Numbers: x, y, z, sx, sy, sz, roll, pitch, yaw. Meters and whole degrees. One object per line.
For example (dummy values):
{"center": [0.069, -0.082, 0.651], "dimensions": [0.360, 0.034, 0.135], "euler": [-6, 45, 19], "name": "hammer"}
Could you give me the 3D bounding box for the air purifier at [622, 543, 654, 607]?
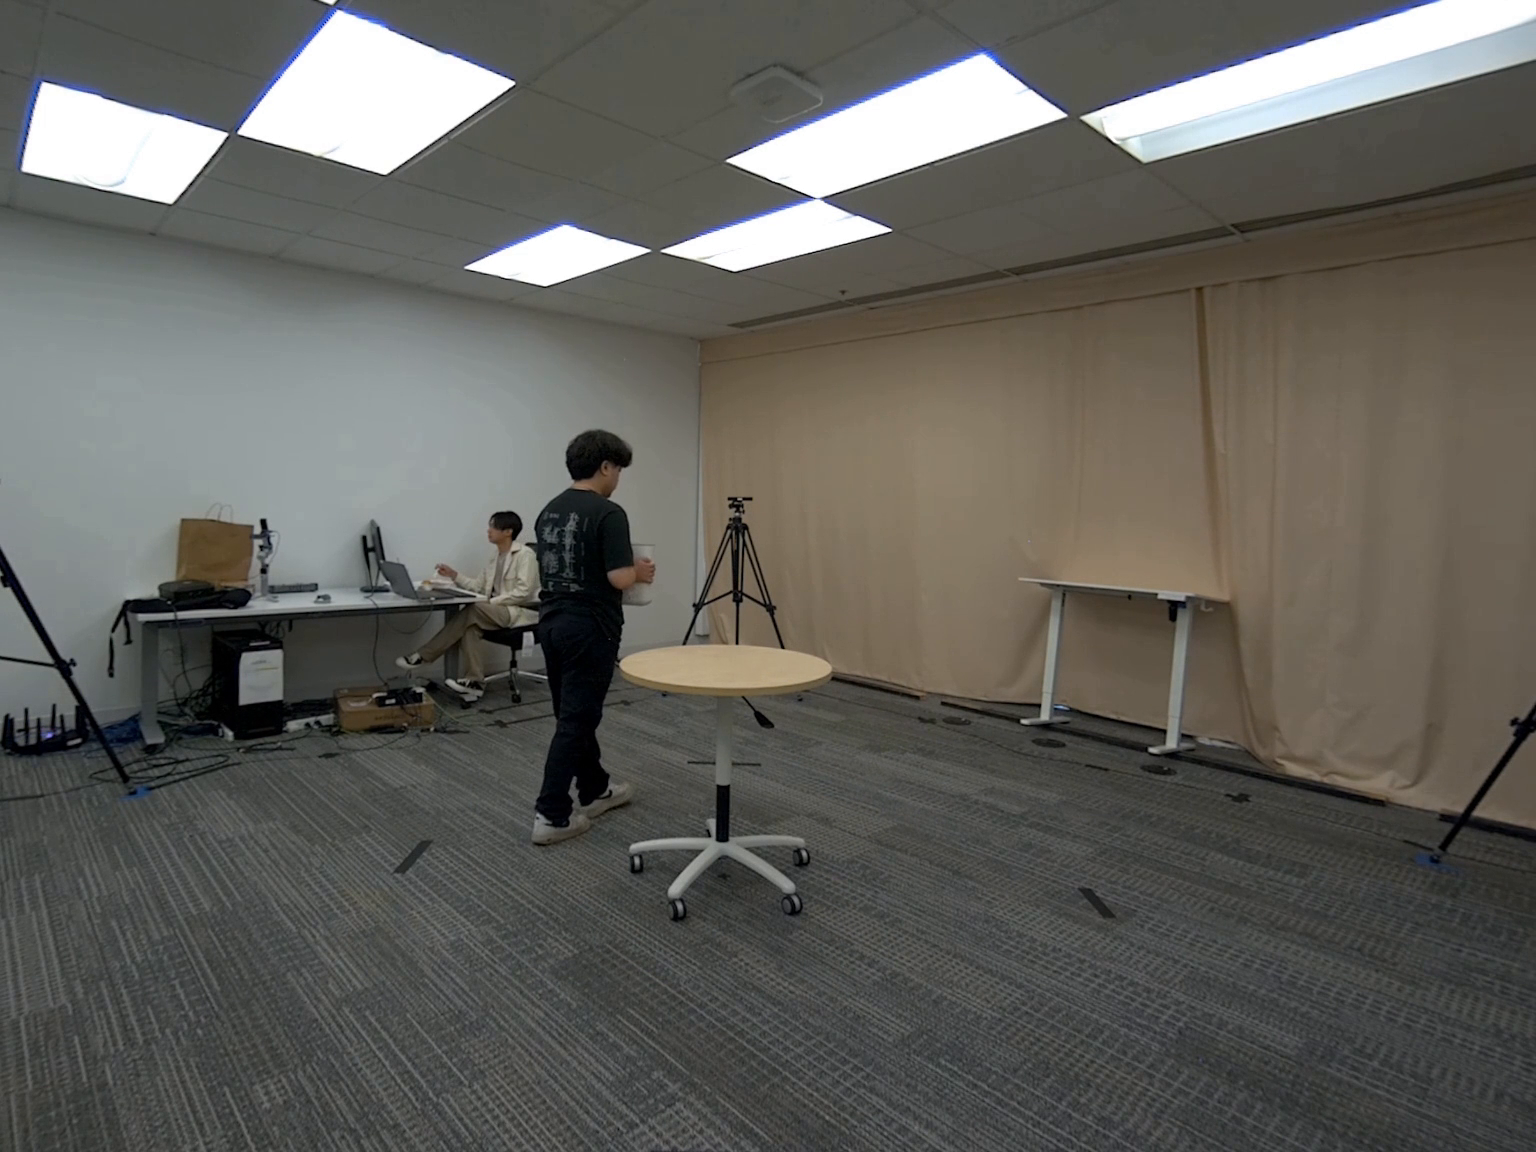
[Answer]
{"center": [-0.589, -0.009, 3.661], "dimensions": [0.171, 0.265, 0.171], "euler": [4, 1, 1], "name": "air purifier"}
